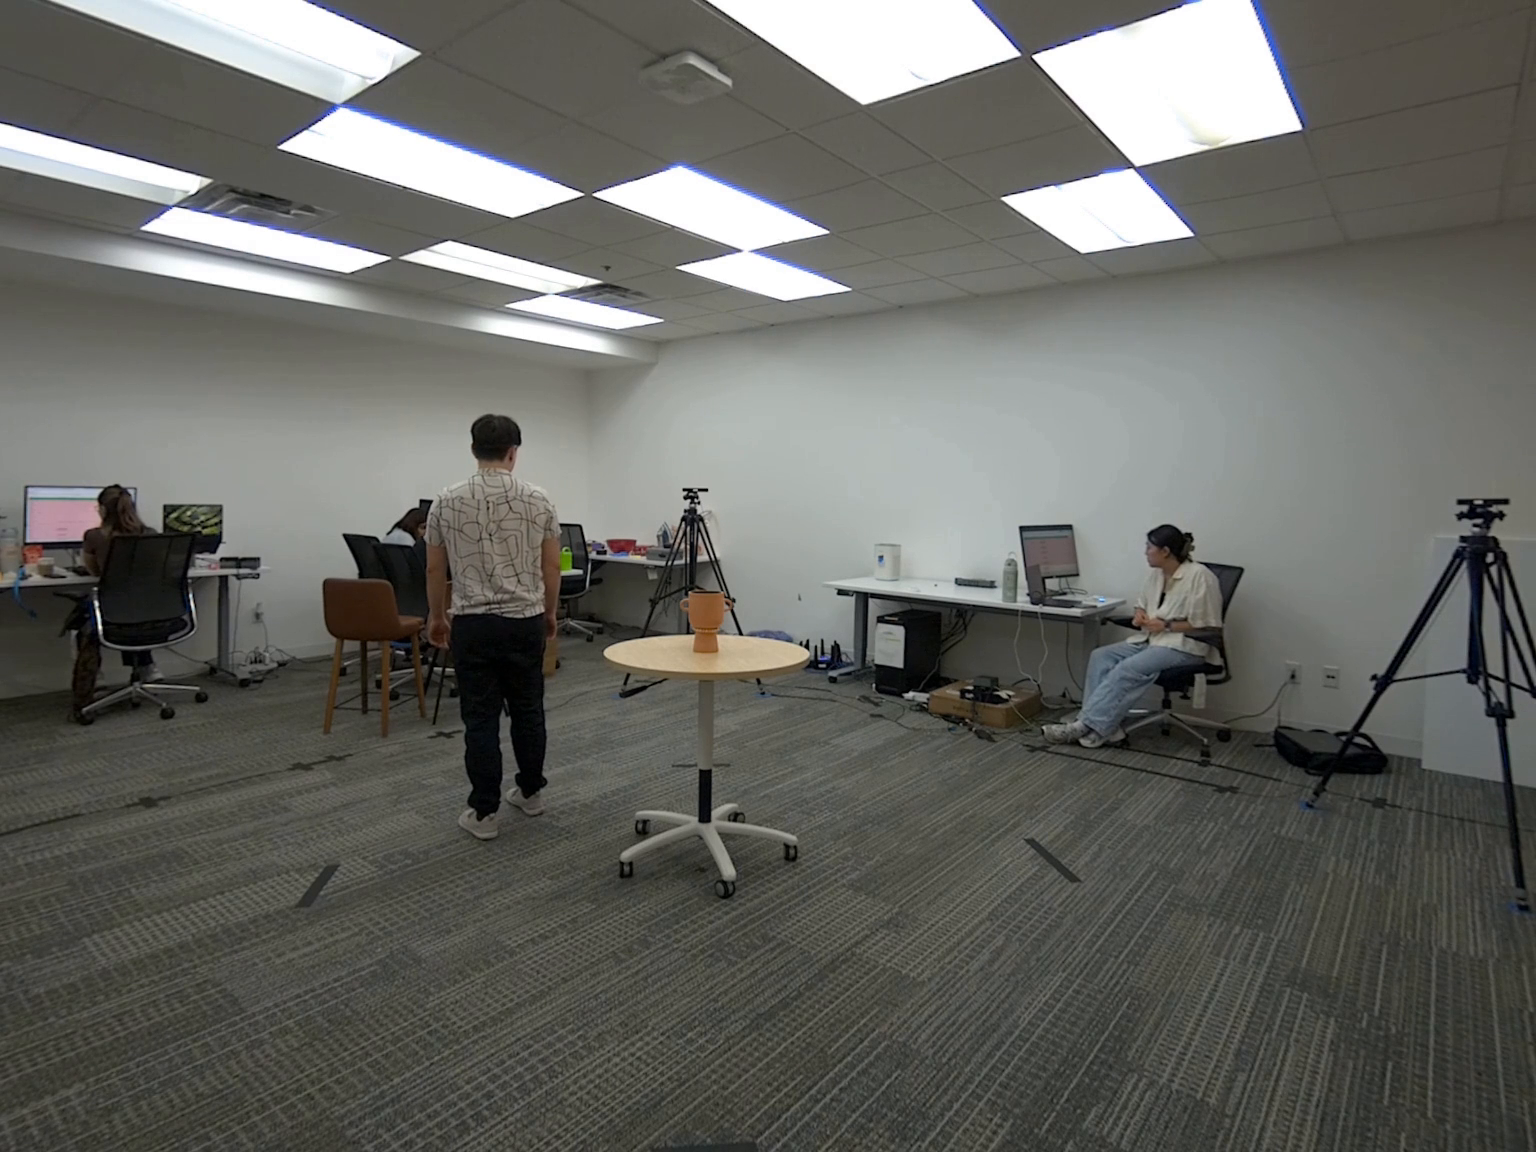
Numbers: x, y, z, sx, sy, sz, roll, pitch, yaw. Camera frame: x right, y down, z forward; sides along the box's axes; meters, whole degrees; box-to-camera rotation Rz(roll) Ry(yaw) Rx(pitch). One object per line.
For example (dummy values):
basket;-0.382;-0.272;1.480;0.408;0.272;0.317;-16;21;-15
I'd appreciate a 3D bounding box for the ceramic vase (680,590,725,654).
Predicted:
ceramic vase;-0.240;0.168;3.186;0.163;0.219;0.131;3;4;31
